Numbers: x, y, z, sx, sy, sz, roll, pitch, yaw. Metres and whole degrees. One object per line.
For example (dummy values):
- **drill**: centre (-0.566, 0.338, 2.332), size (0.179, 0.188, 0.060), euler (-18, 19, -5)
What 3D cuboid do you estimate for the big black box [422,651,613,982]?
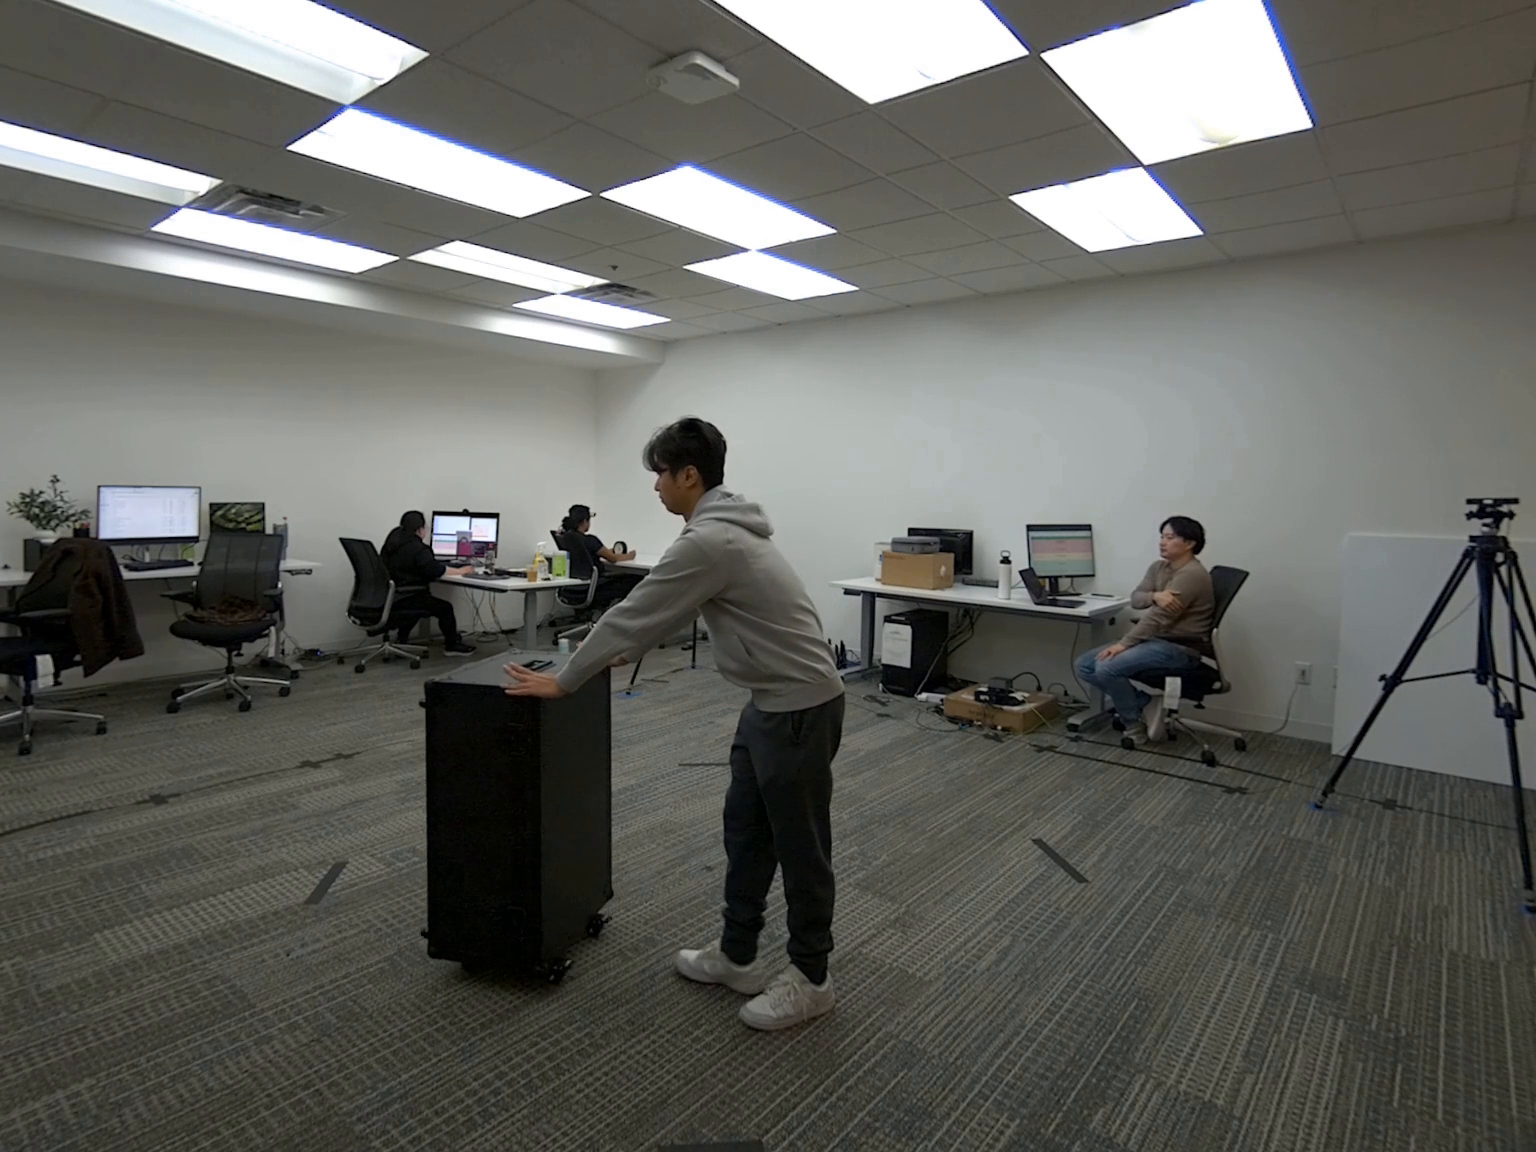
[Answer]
- **big black box**: centre (-0.746, 0.690, 2.533), size (0.403, 0.859, 0.514), euler (1, 3, 15)
